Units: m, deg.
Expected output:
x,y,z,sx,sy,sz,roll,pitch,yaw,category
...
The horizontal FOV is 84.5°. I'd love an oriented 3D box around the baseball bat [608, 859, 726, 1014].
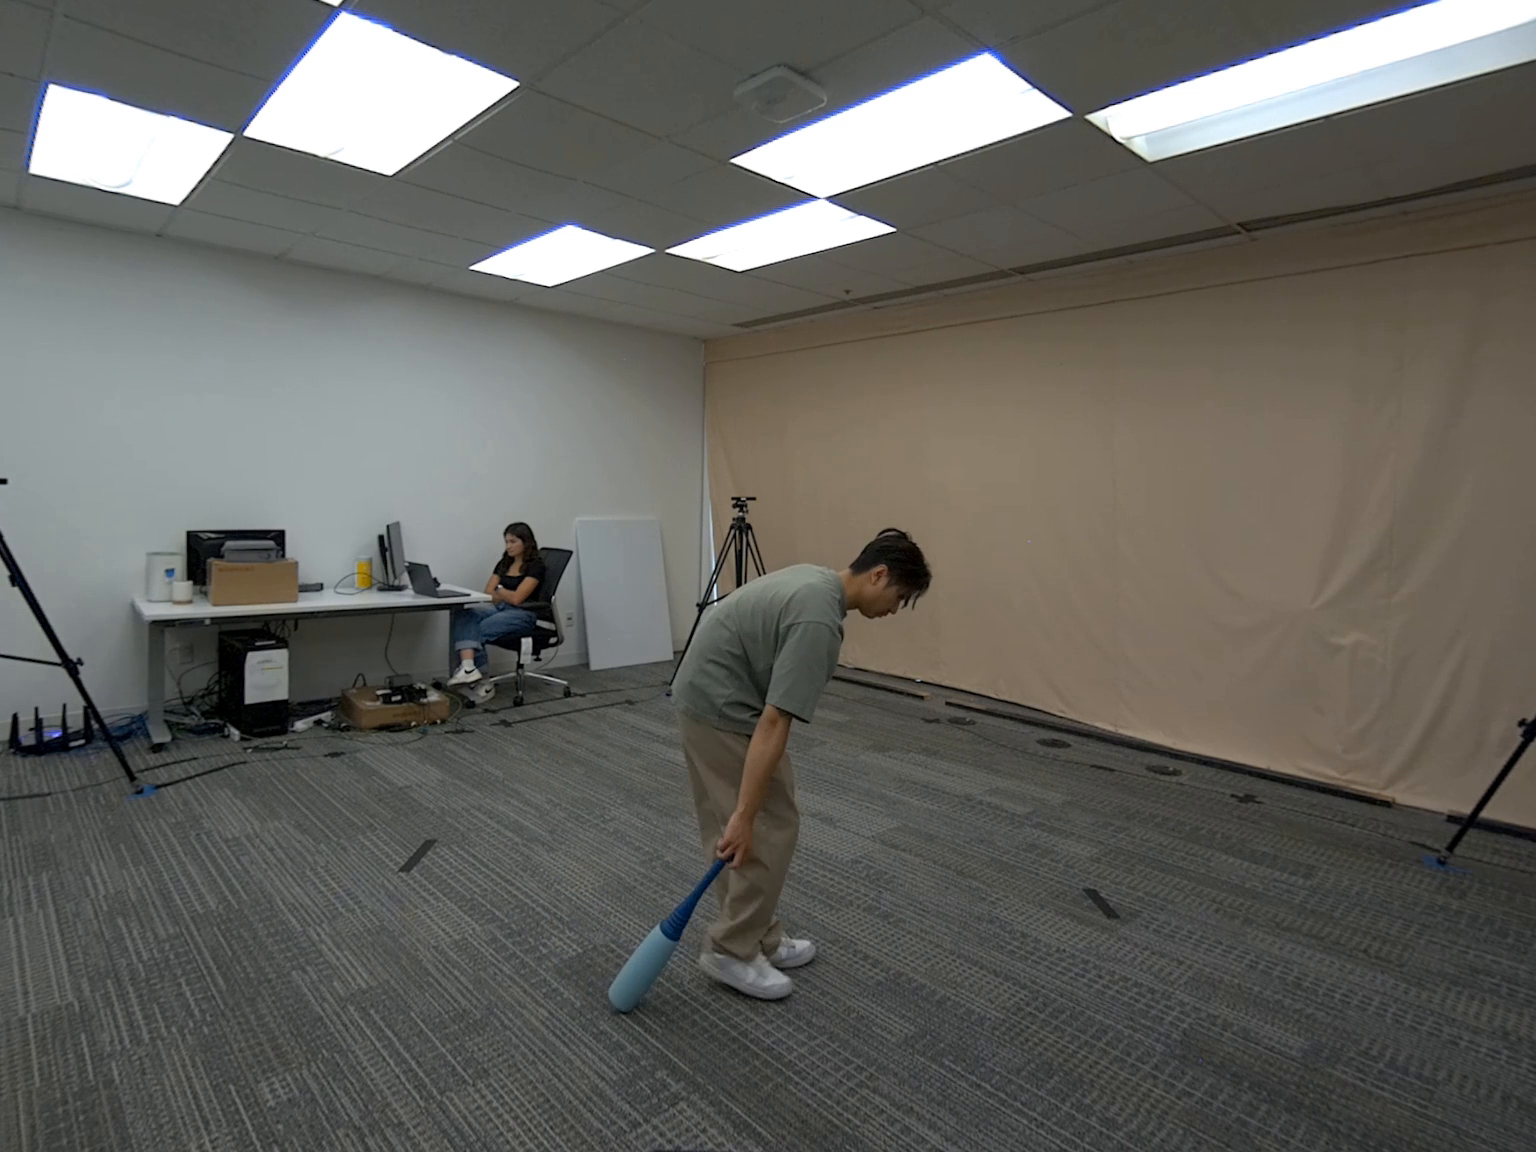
x,y,z,sx,sy,sz,roll,pitch,yaw,category
-0.259,0.946,2.247,0.088,0.542,0.090,34,10,-9,baseball bat
